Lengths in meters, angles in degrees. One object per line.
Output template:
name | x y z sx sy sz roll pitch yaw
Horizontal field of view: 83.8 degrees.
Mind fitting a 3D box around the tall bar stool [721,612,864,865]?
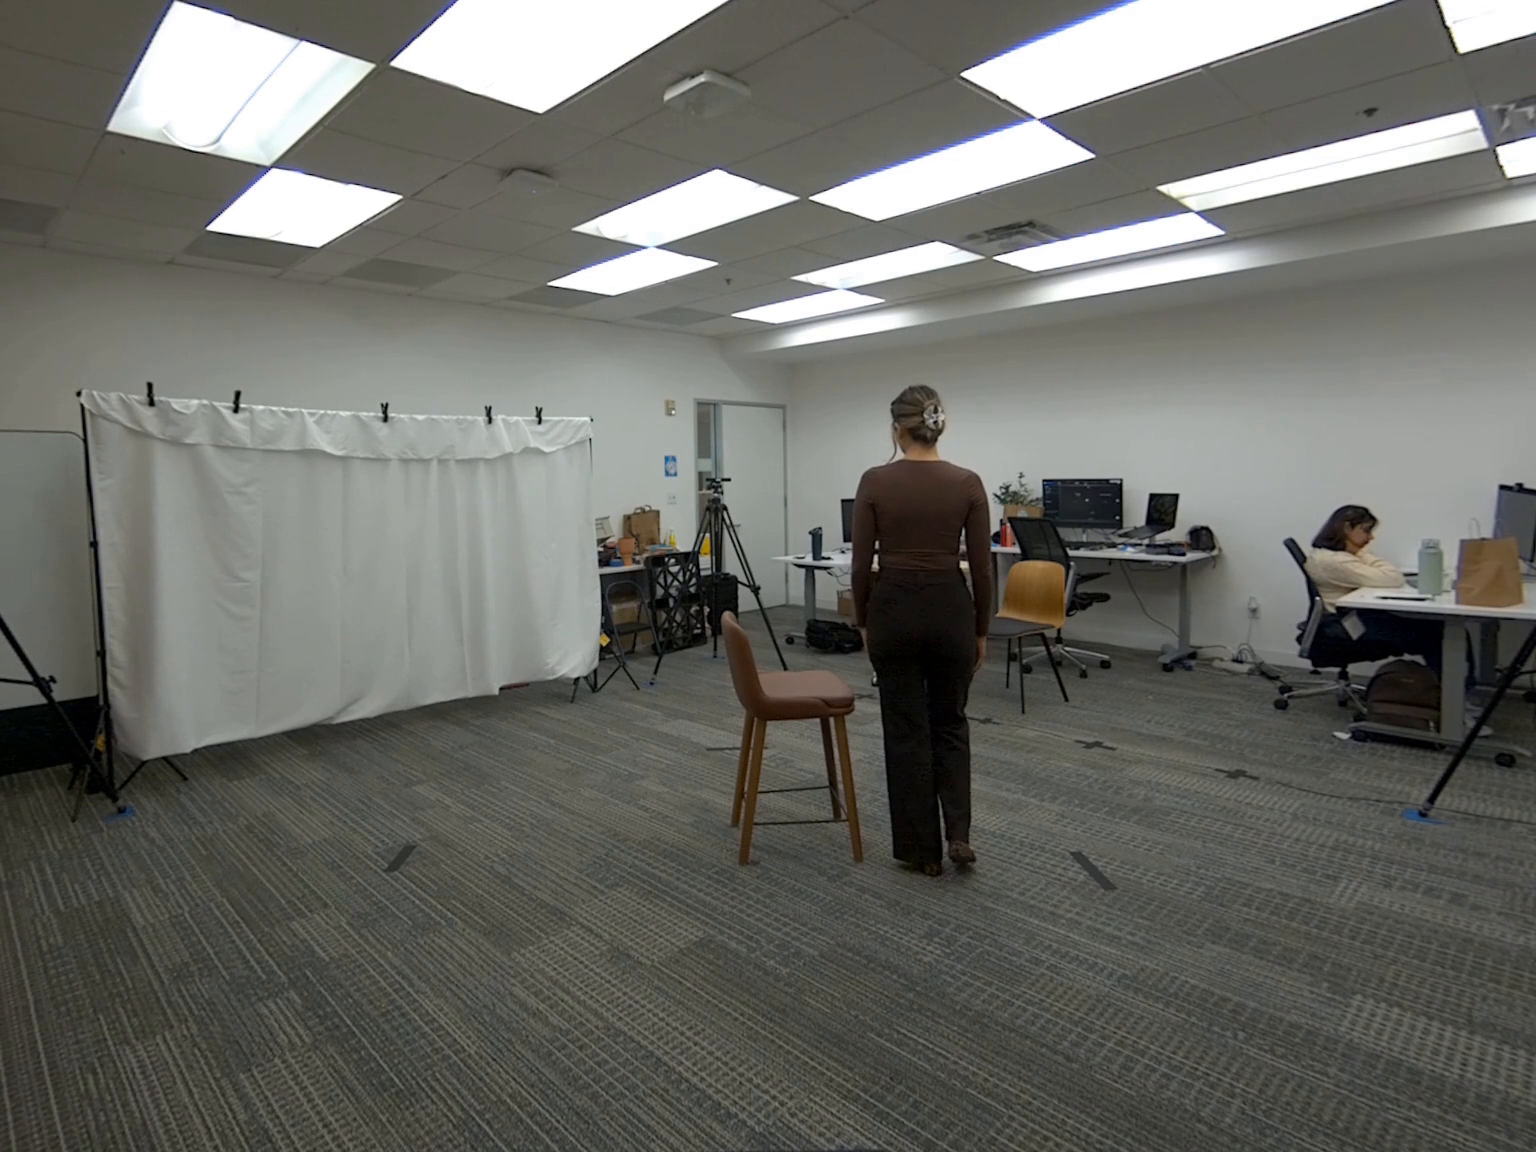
tall bar stool | 0.088 0.588 3.263 0.465 0.886 0.461 -3 4 -6
